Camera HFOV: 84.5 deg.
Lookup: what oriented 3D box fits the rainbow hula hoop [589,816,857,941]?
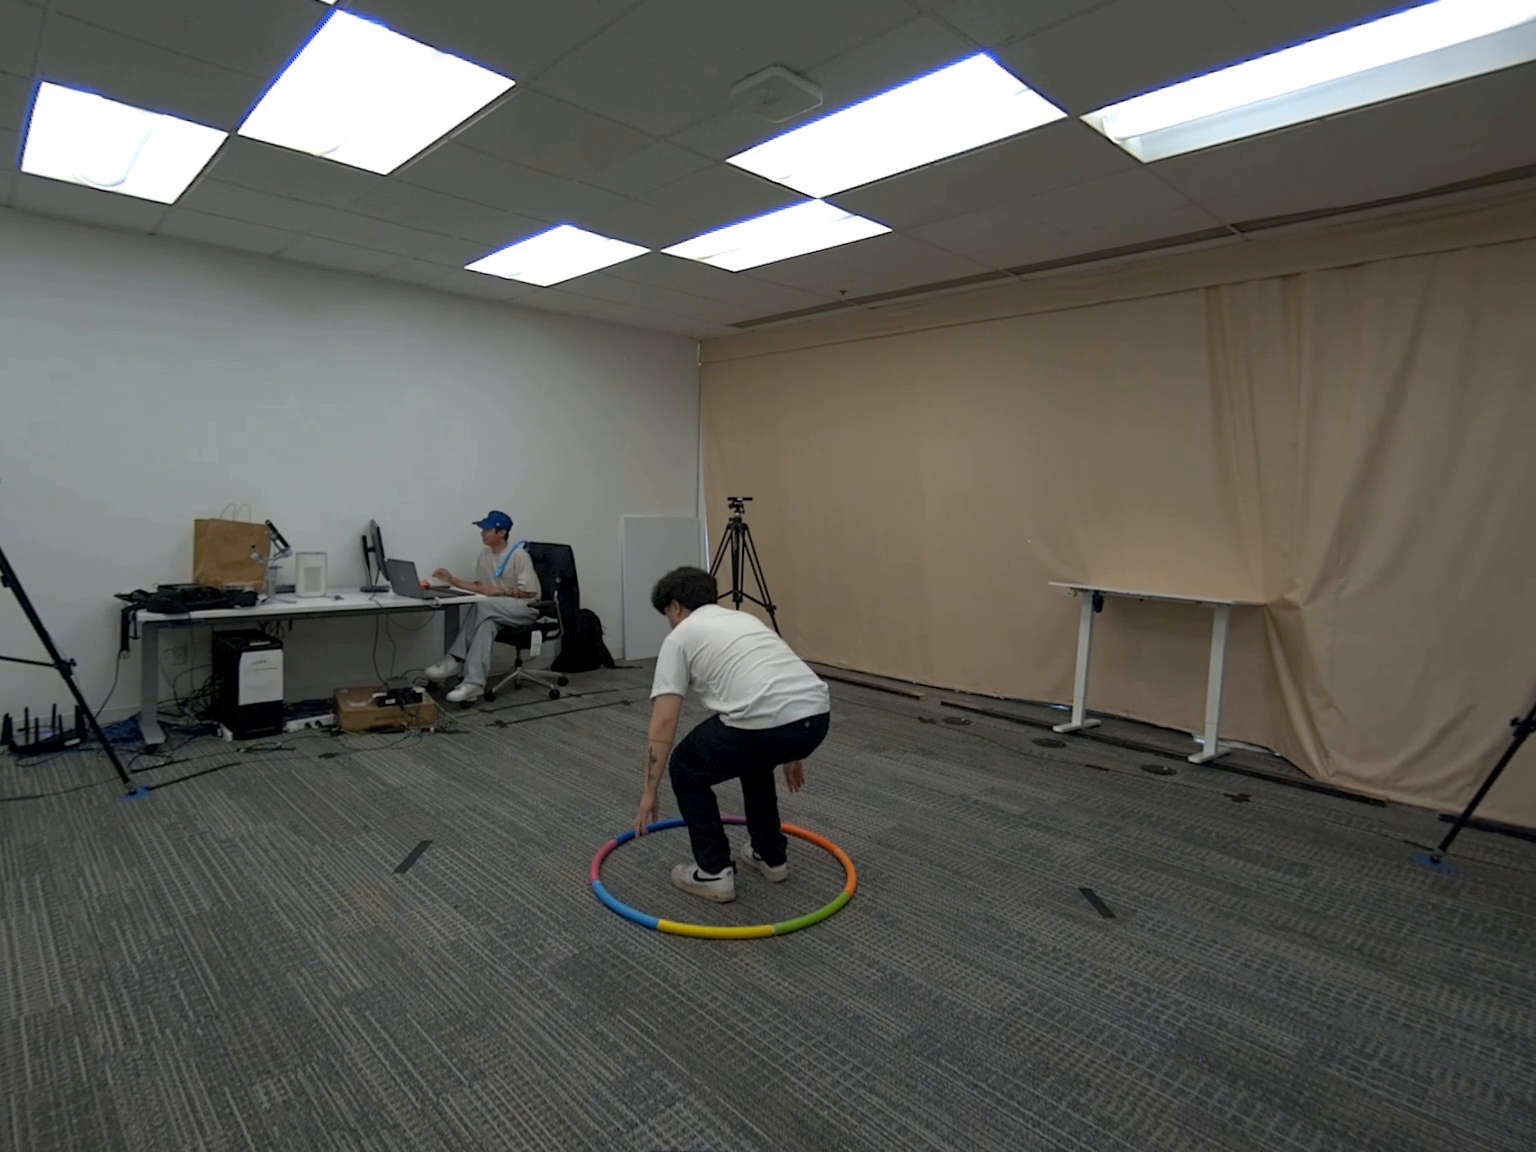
[{"bbox_3d":[-0.169,1.078,3.134,0.985,0.051,0.989,1,5,-1],"label":"rainbow hula hoop"}]
